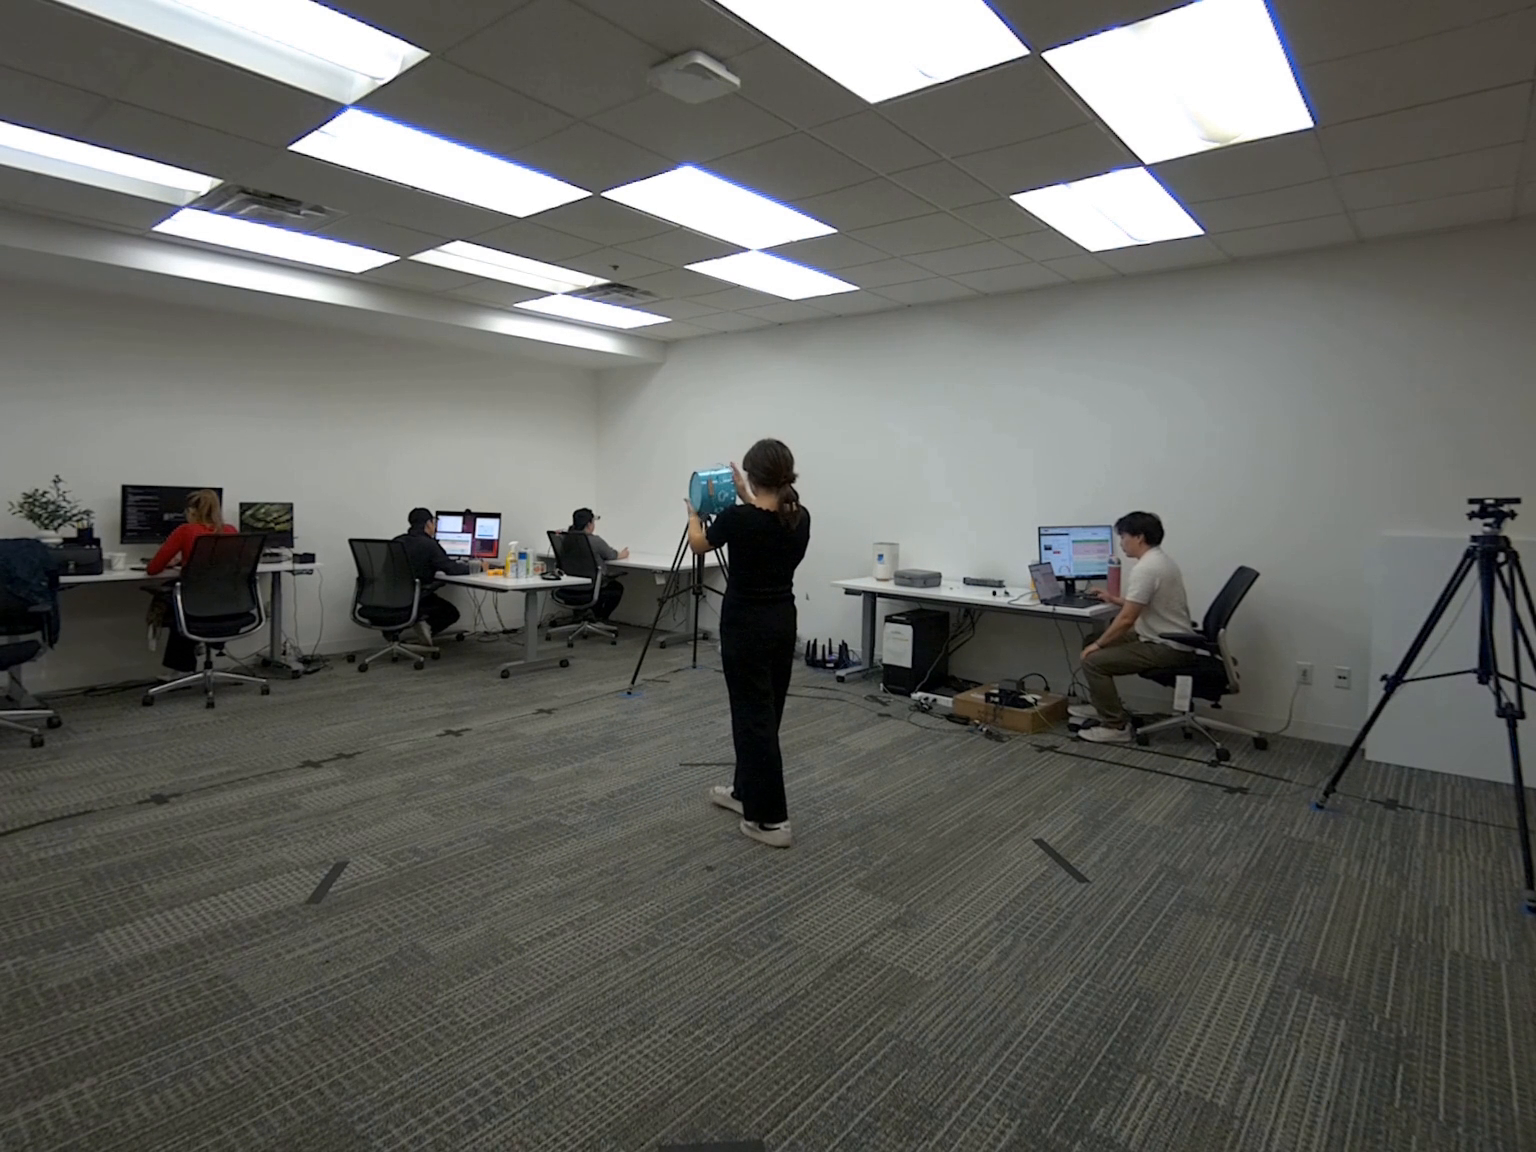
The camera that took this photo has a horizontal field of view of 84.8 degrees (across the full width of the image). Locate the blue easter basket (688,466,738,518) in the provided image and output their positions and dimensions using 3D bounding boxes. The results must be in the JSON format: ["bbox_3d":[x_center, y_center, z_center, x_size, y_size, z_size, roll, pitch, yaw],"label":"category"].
[{"bbox_3d":[-0.258,-0.378,3.768,0.152,0.243,0.250,0,4,-22],"label":"blue easter basket"}]
